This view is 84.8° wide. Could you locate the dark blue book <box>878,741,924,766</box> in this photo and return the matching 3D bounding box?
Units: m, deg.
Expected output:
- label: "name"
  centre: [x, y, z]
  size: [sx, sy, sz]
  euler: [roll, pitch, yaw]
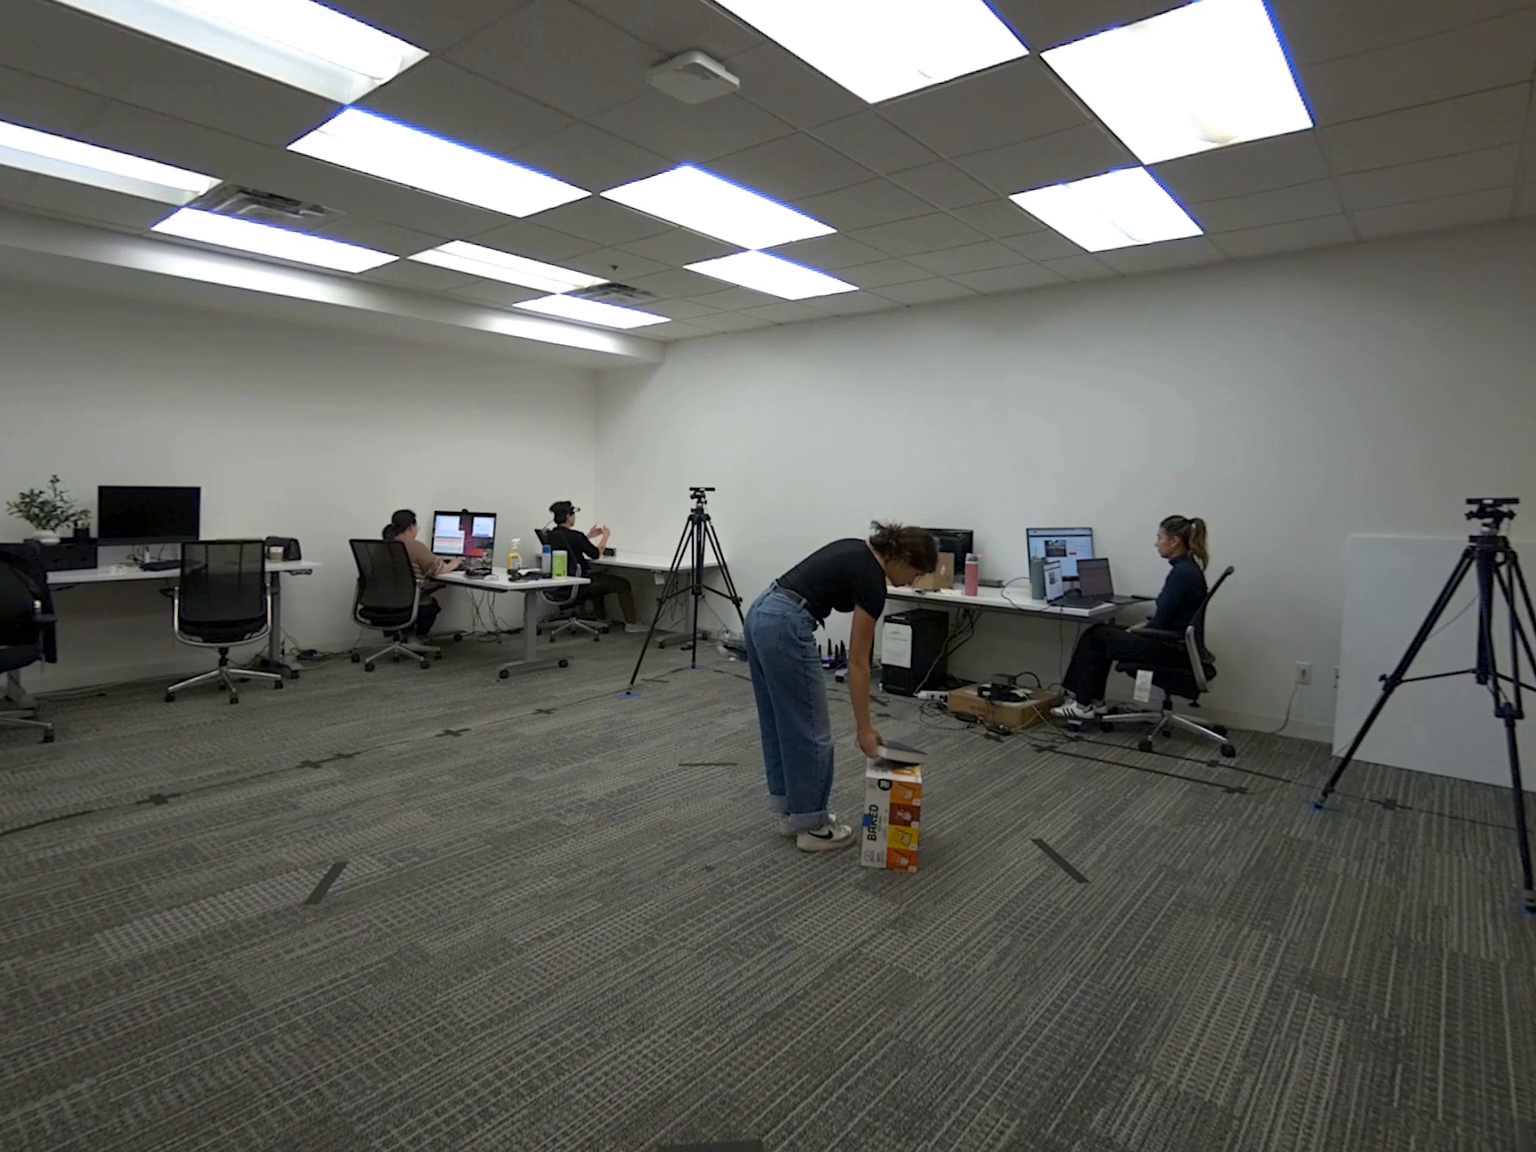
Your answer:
- label: "dark blue book"
  centre: [0.478, 0.675, 3.308]
  size: [0.236, 0.045, 0.169]
  euler: [16, -2, -36]
